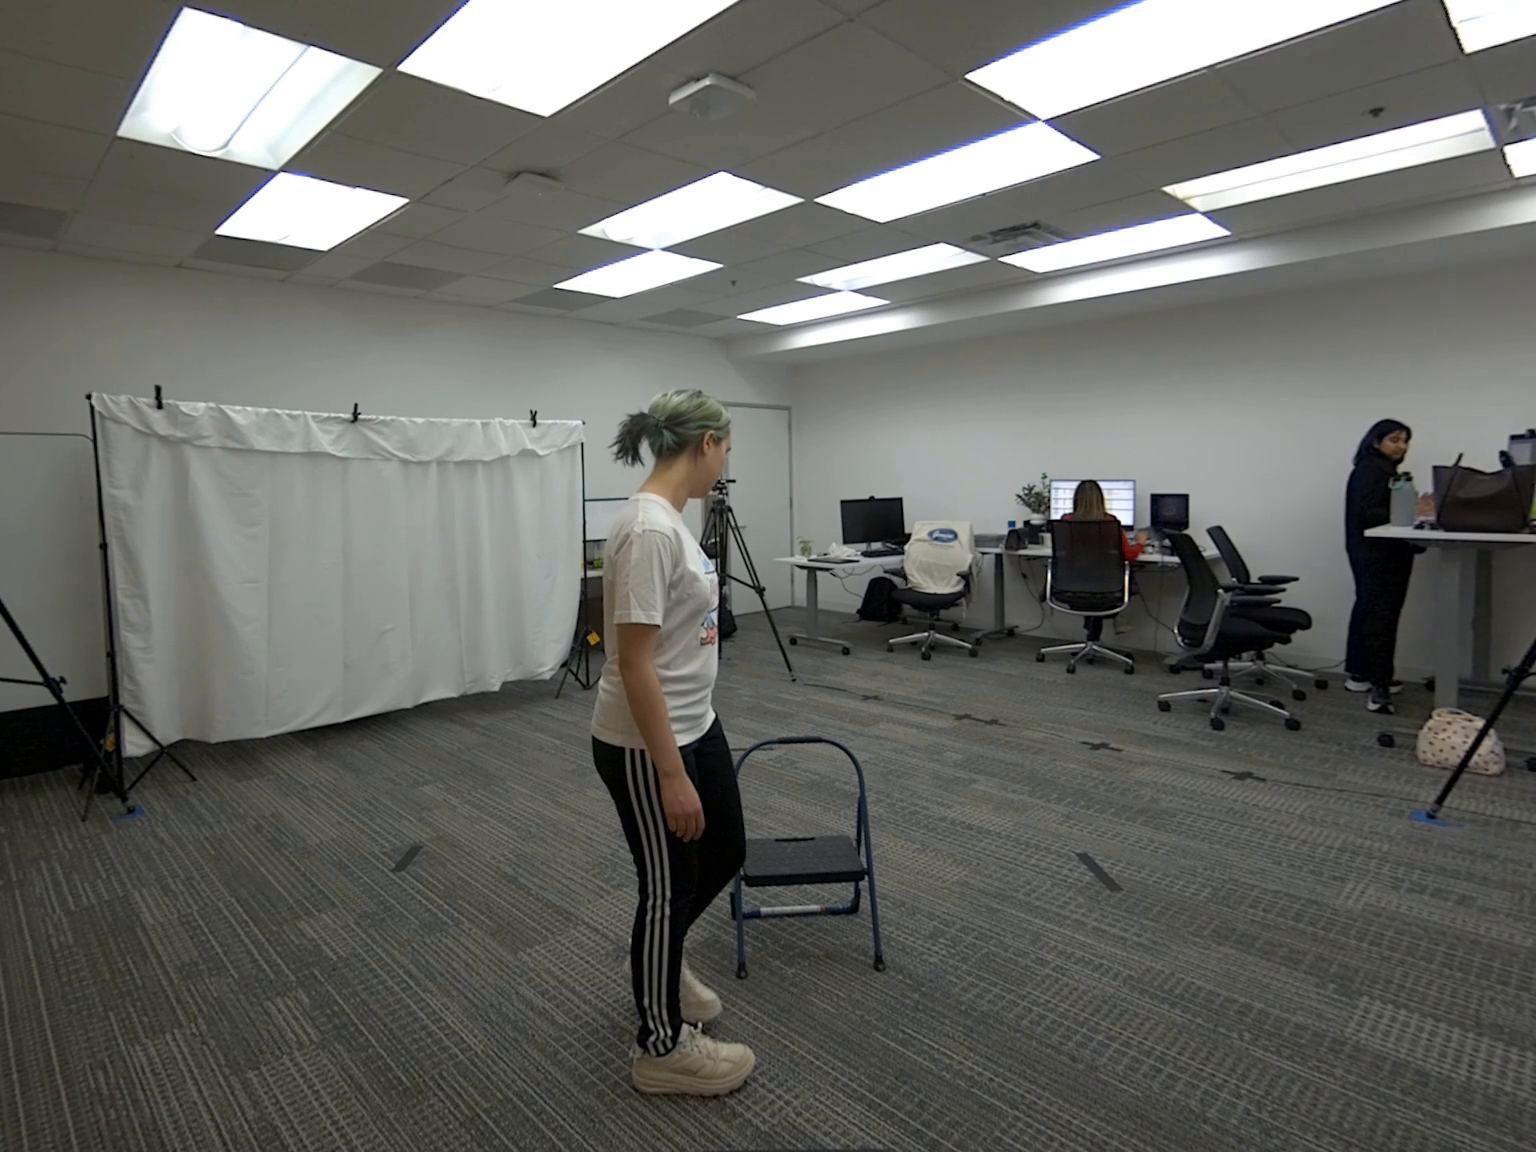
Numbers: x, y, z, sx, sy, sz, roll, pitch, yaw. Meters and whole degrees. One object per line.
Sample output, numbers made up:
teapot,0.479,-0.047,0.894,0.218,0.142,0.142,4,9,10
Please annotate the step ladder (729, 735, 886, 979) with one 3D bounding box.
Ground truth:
step ladder,0.104,0.806,2.565,0.429,0.603,0.352,-1,5,-5
